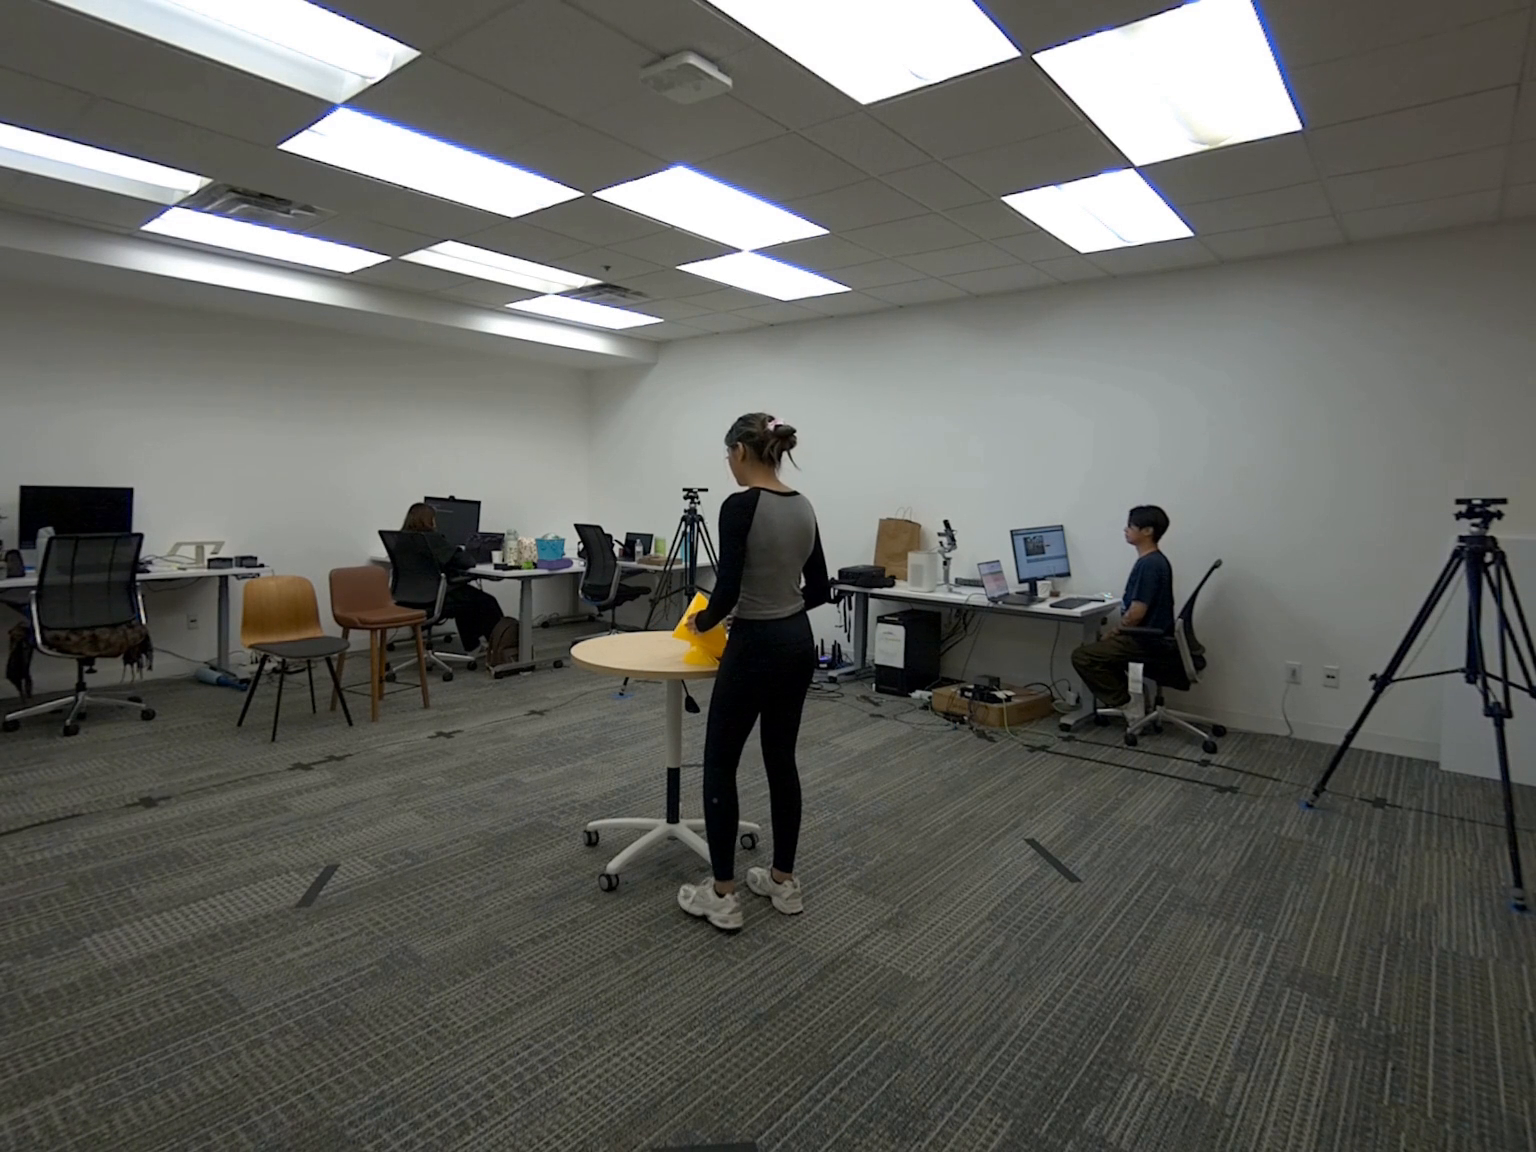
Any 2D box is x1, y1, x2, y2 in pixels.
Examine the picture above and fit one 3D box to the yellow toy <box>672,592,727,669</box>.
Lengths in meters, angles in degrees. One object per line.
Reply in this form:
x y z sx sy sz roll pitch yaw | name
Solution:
-0.217 0.176 2.981 0.200 0.230 0.199 6 6 43 | yellow toy
